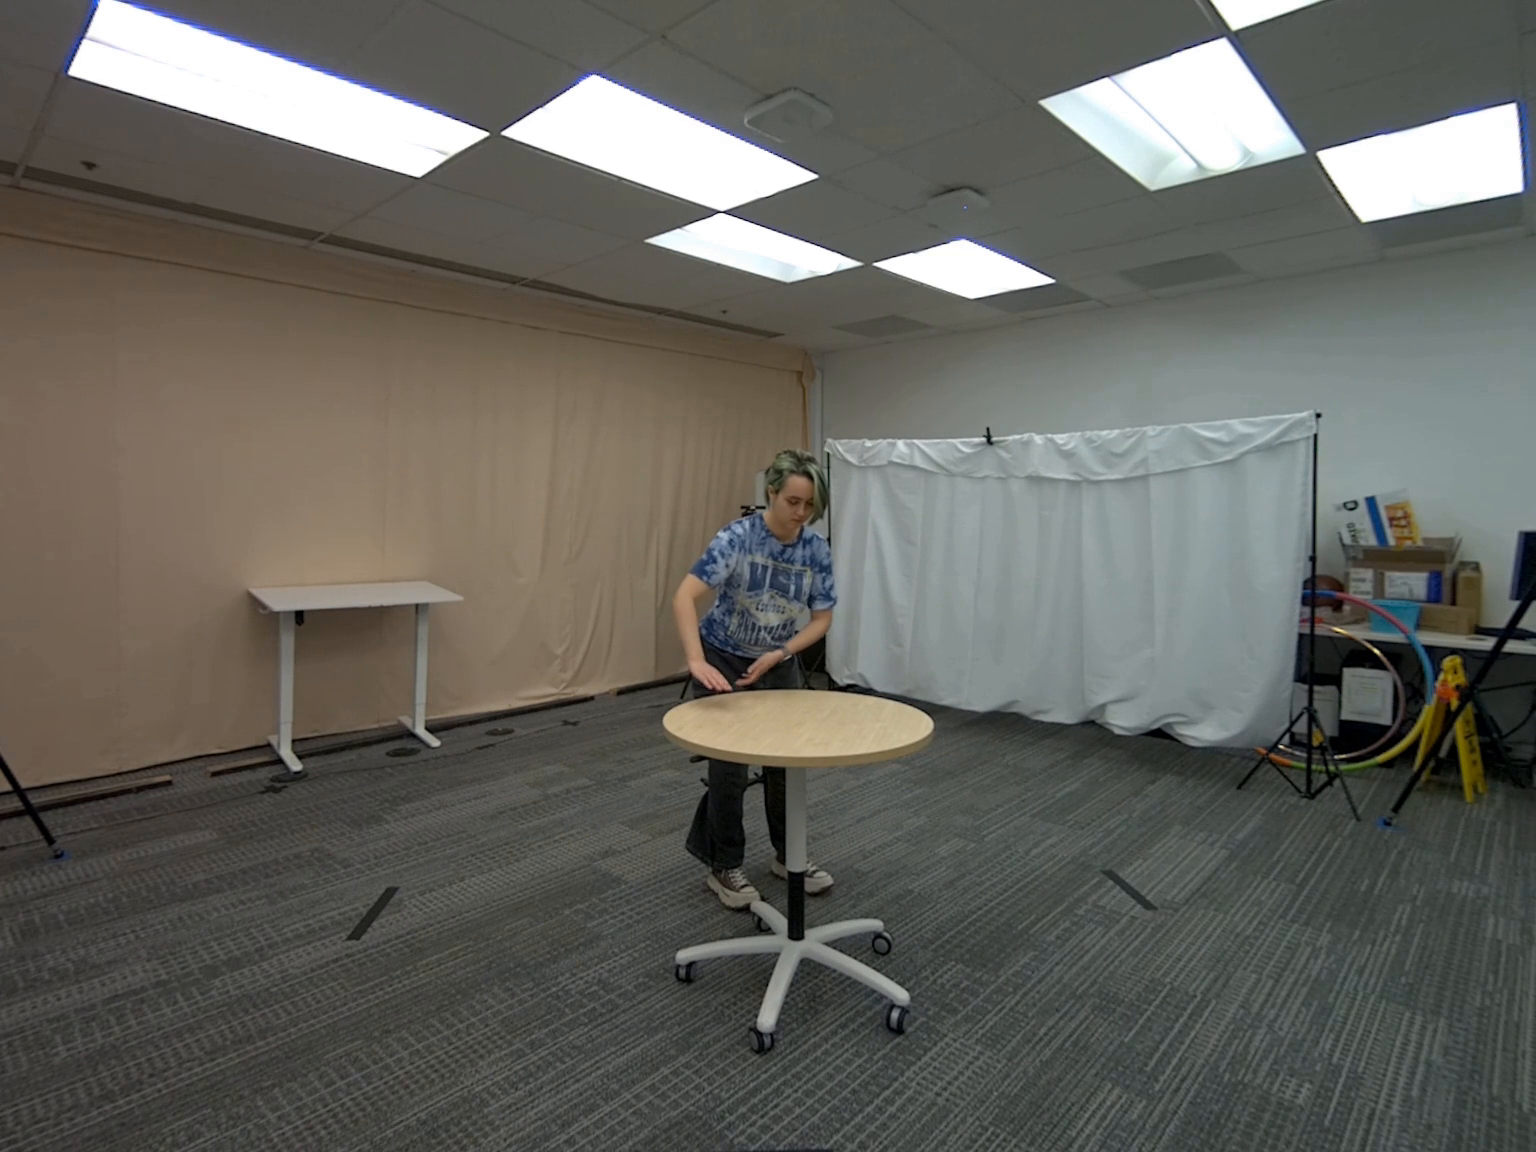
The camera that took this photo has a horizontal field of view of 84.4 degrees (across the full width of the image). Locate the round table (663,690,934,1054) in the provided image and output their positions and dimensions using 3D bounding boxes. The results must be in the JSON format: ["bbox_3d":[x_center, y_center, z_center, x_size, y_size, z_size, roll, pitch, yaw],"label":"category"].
[{"bbox_3d":[0.083,0.801,2.436,0.763,0.792,0.767,0,4,-2],"label":"round table"}]
